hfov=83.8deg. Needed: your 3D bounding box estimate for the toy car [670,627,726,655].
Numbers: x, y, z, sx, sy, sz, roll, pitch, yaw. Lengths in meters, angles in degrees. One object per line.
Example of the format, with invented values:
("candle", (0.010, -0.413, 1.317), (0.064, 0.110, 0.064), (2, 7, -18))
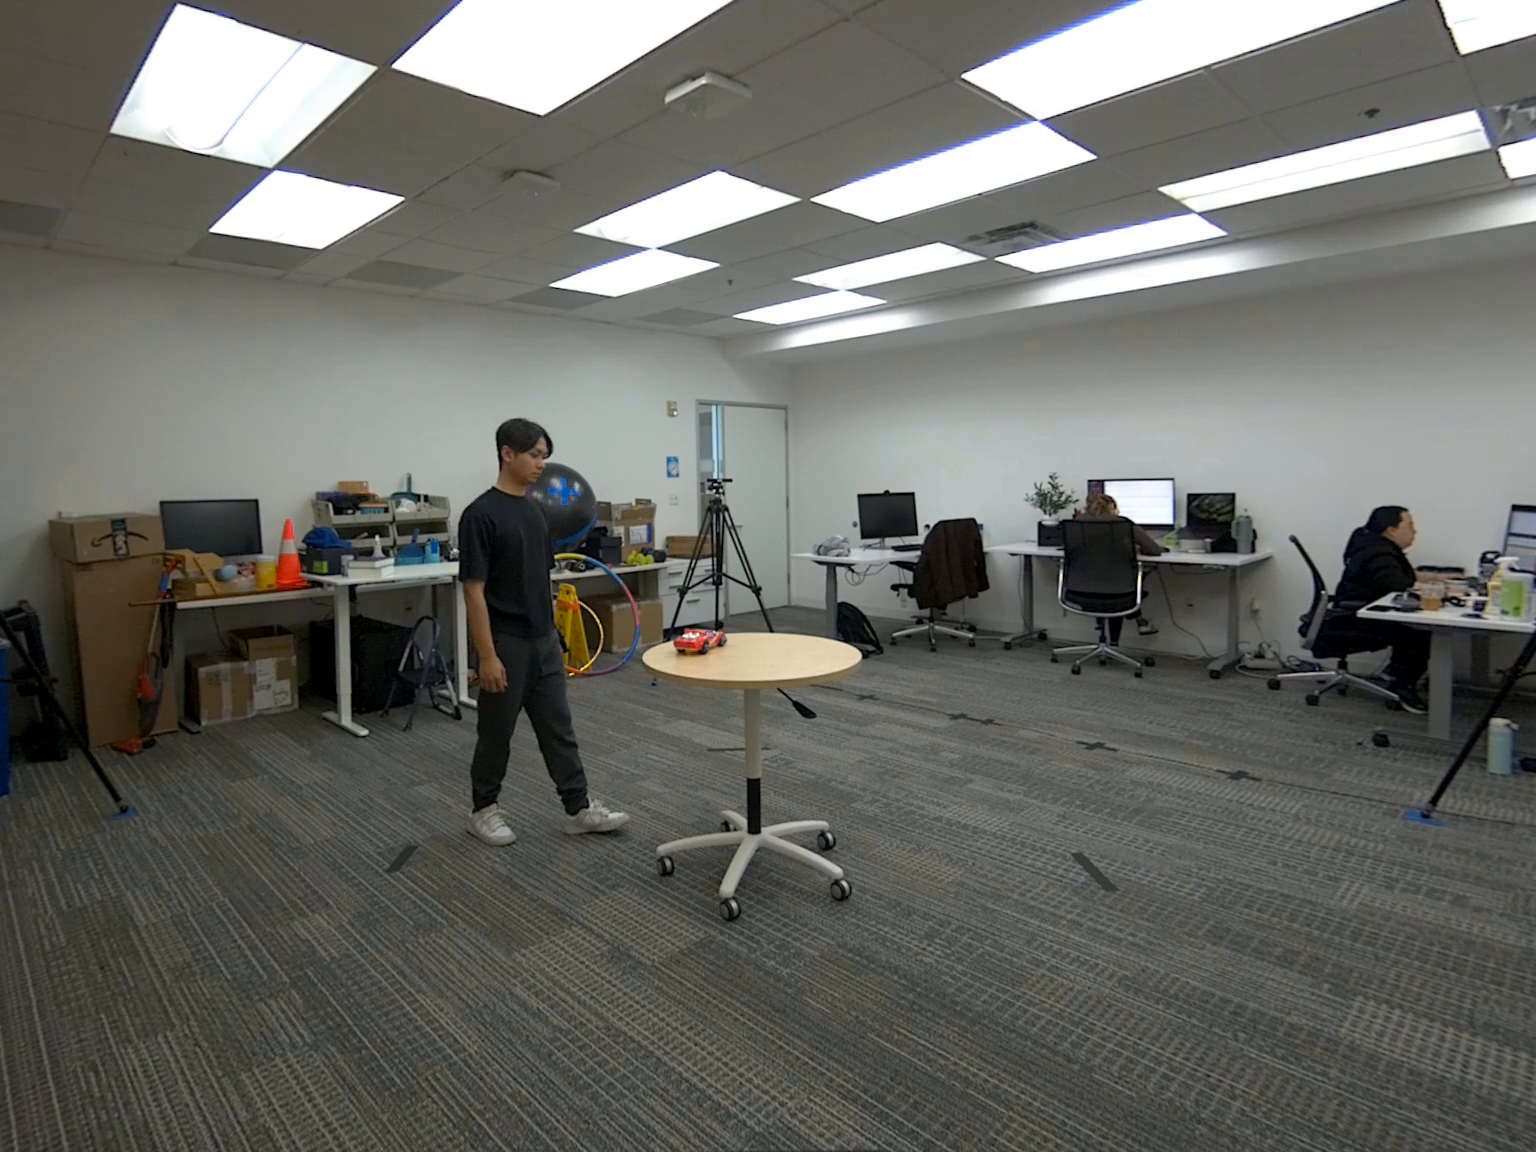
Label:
("toy car", (-0.252, 0.233, 3.078), (0.133, 0.083, 0.248), (3, -4, 23))
